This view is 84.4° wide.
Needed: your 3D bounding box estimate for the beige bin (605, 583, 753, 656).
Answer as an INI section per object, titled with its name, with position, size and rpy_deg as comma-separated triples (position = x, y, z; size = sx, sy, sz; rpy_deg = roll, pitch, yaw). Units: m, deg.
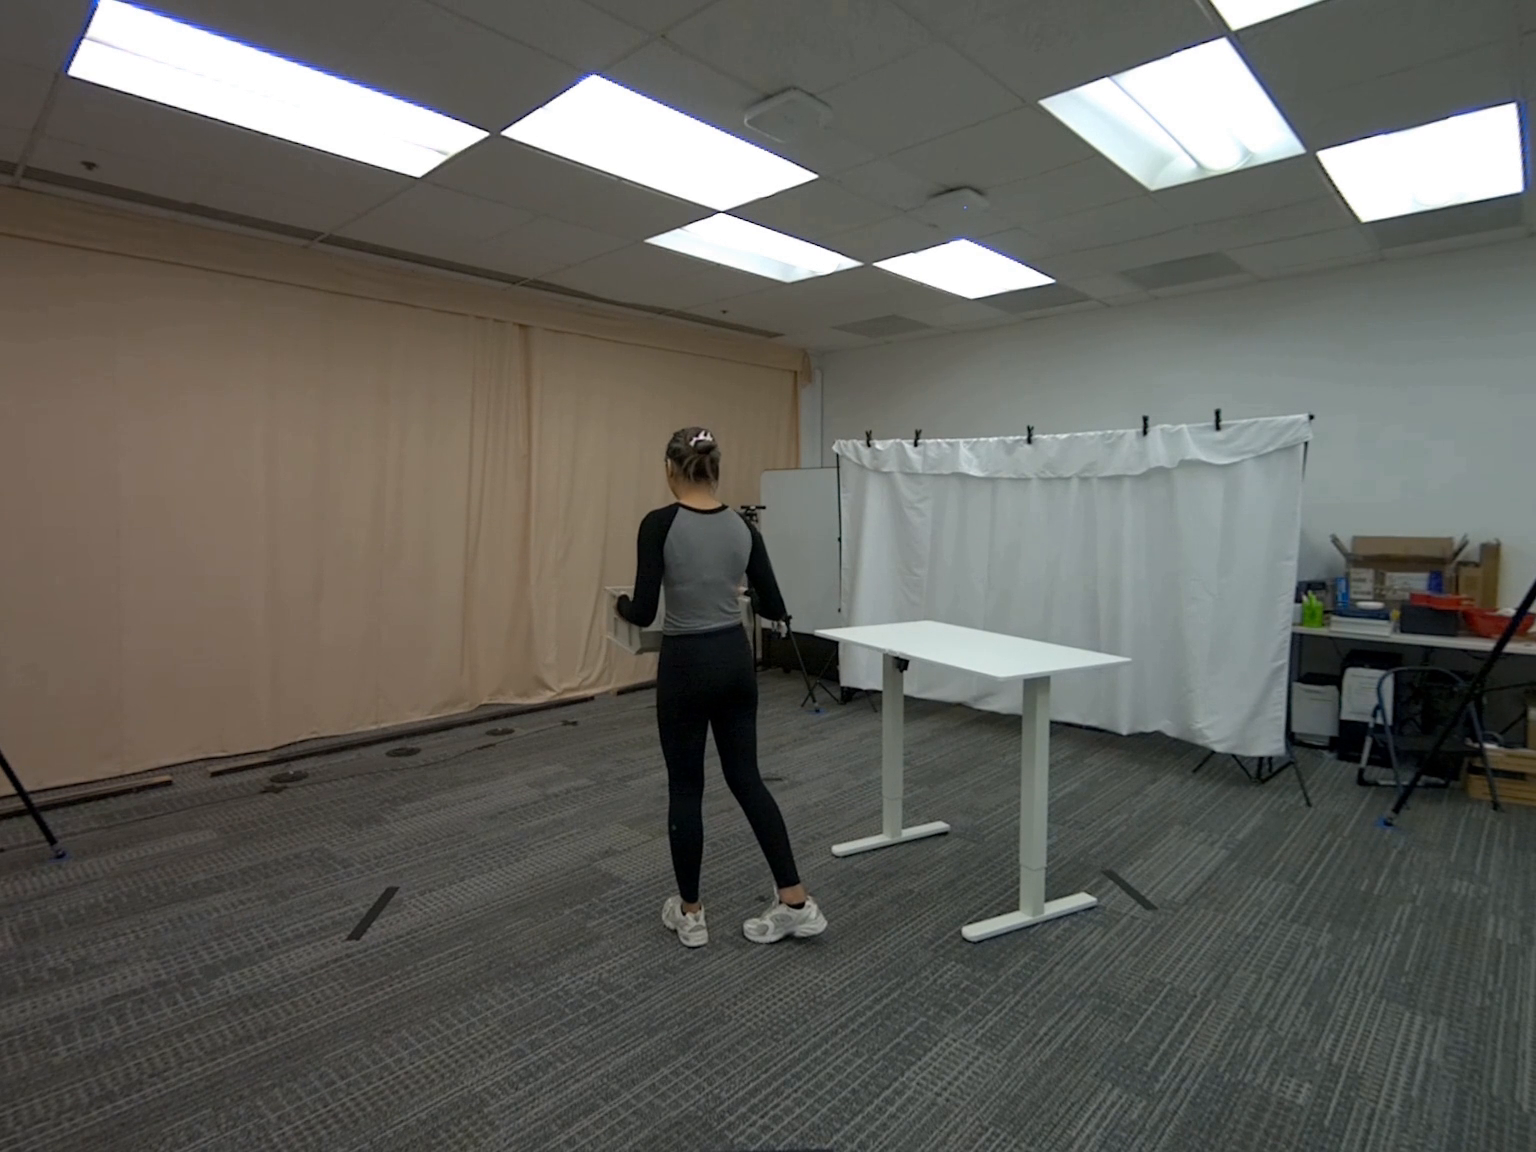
[beige bin]
position = -0.317, 0.150, 2.956
size = 0.412, 0.188, 0.387
rpy_deg = -2, 6, -25
